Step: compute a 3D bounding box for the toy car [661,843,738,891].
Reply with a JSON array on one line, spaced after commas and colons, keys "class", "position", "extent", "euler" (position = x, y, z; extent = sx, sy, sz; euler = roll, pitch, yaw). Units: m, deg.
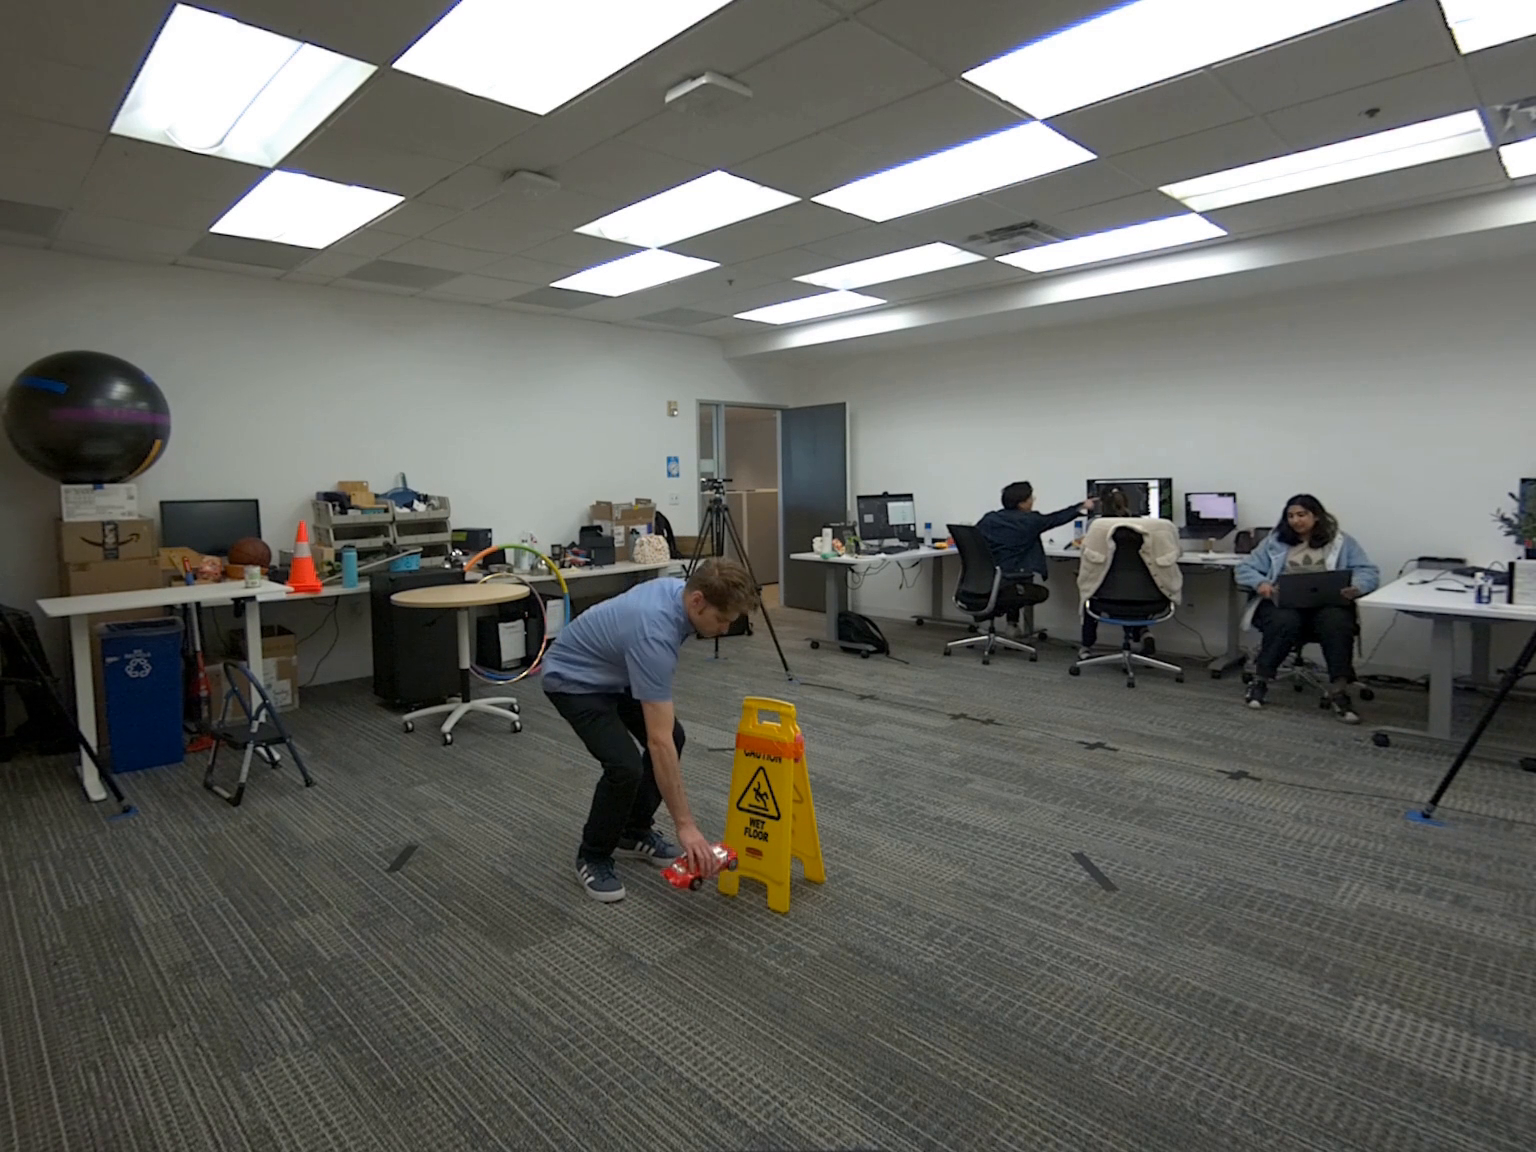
[{"class": "toy car", "position": [-0.214, 0.911, 2.681], "extent": [0.248, 0.083, 0.135], "euler": [-2, 11, -37]}]
